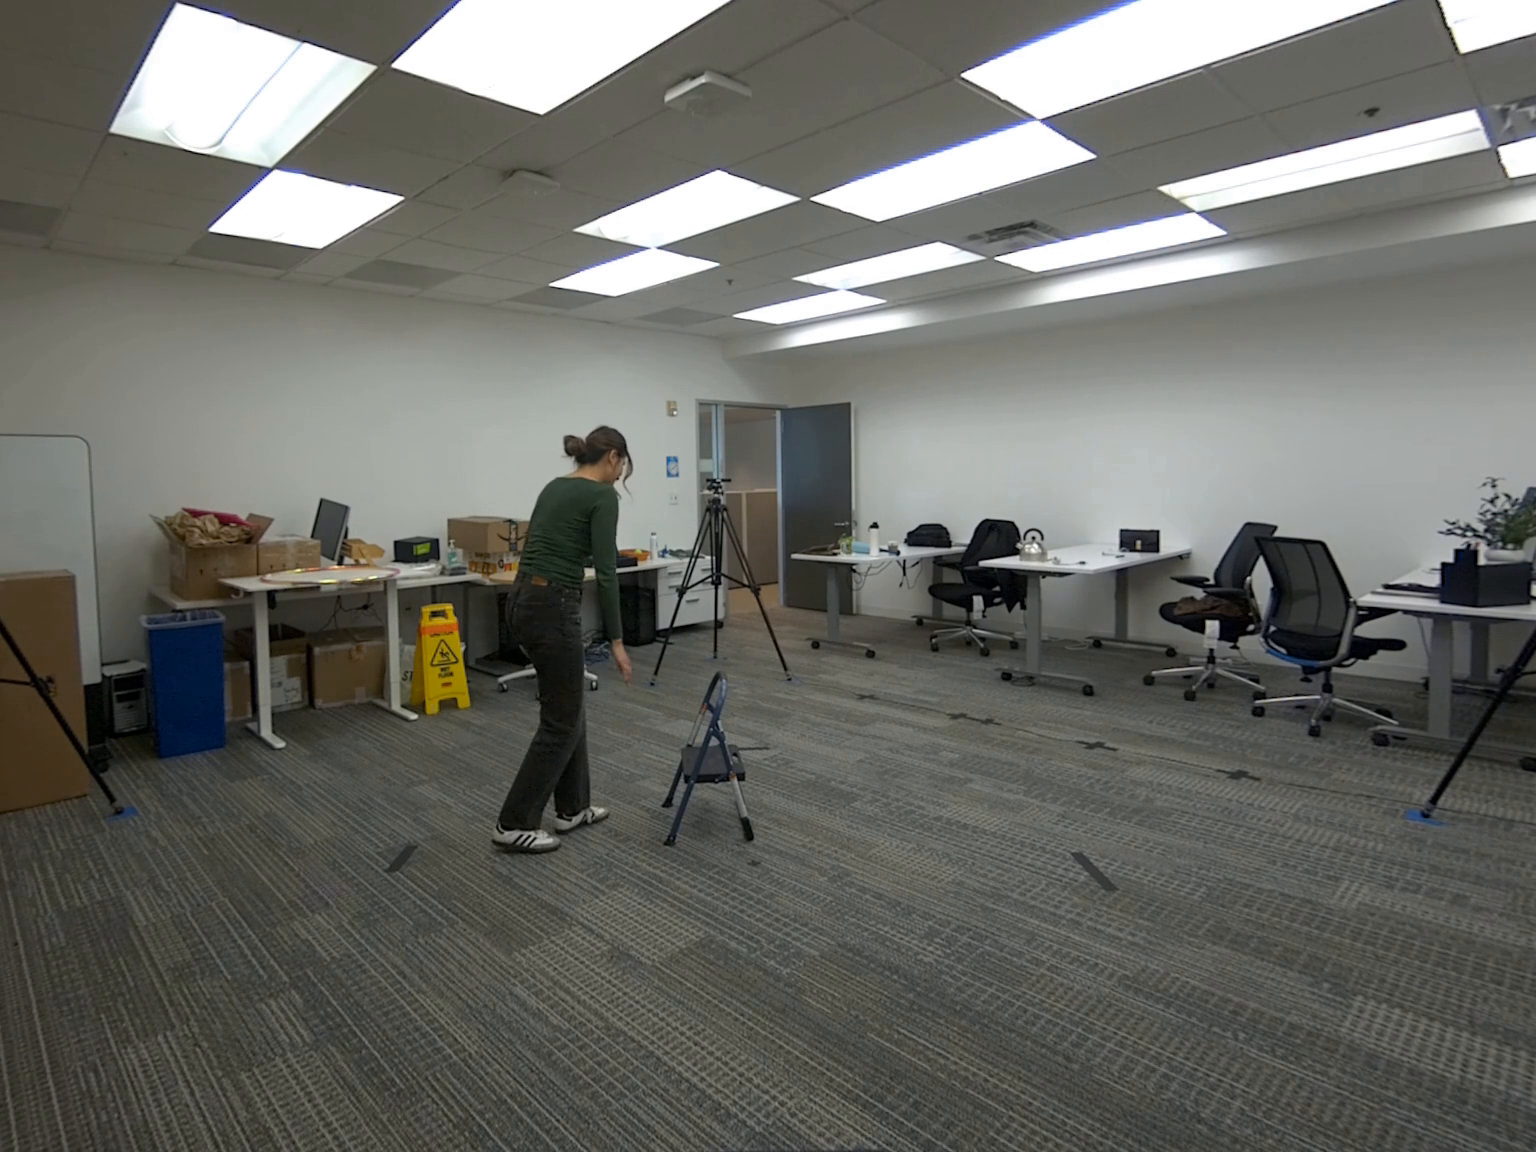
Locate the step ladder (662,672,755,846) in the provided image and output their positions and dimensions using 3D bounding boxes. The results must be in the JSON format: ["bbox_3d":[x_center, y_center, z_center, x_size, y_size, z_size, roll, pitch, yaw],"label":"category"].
[{"bbox_3d":[-0.253,0.709,3.466,0.347,0.603,0.435,-2,5,-8],"label":"step ladder"}]
